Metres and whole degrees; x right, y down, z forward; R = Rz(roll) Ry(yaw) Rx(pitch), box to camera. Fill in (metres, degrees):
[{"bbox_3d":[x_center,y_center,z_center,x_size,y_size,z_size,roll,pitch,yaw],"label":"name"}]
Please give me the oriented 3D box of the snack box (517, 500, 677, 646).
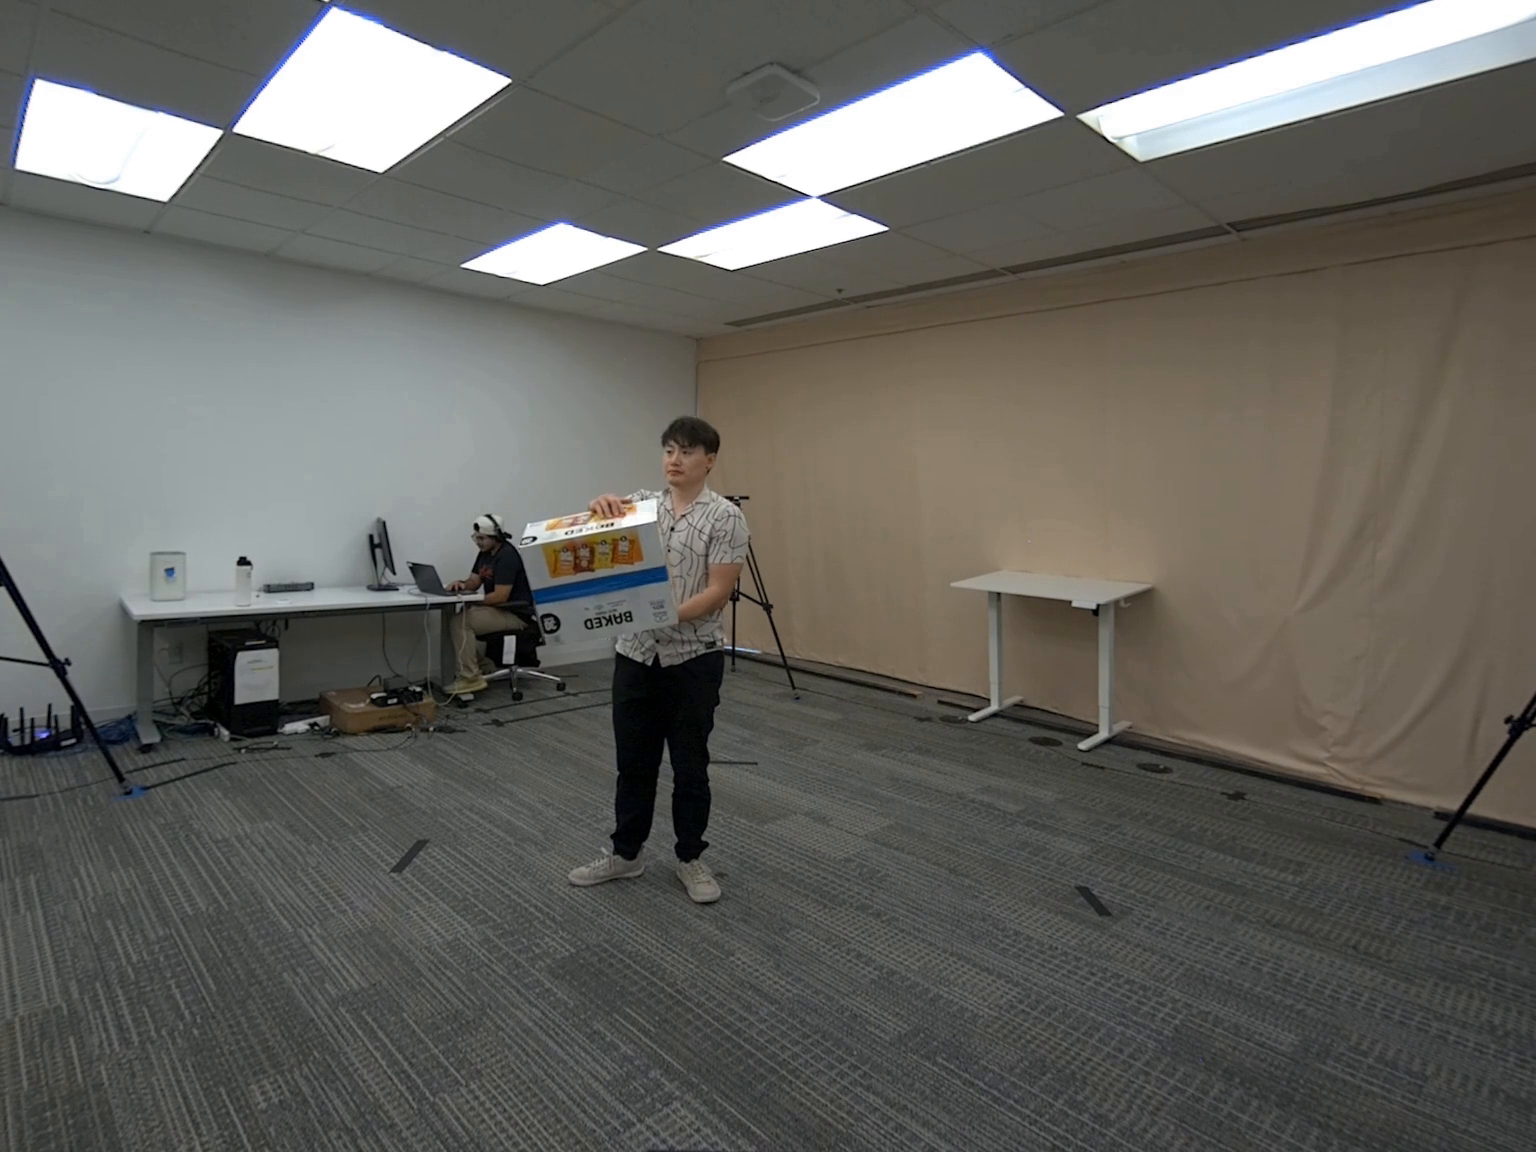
[{"bbox_3d":[-0.517,-0.010,2.562,0.405,0.334,0.209,-10,22,0],"label":"snack box"}]
